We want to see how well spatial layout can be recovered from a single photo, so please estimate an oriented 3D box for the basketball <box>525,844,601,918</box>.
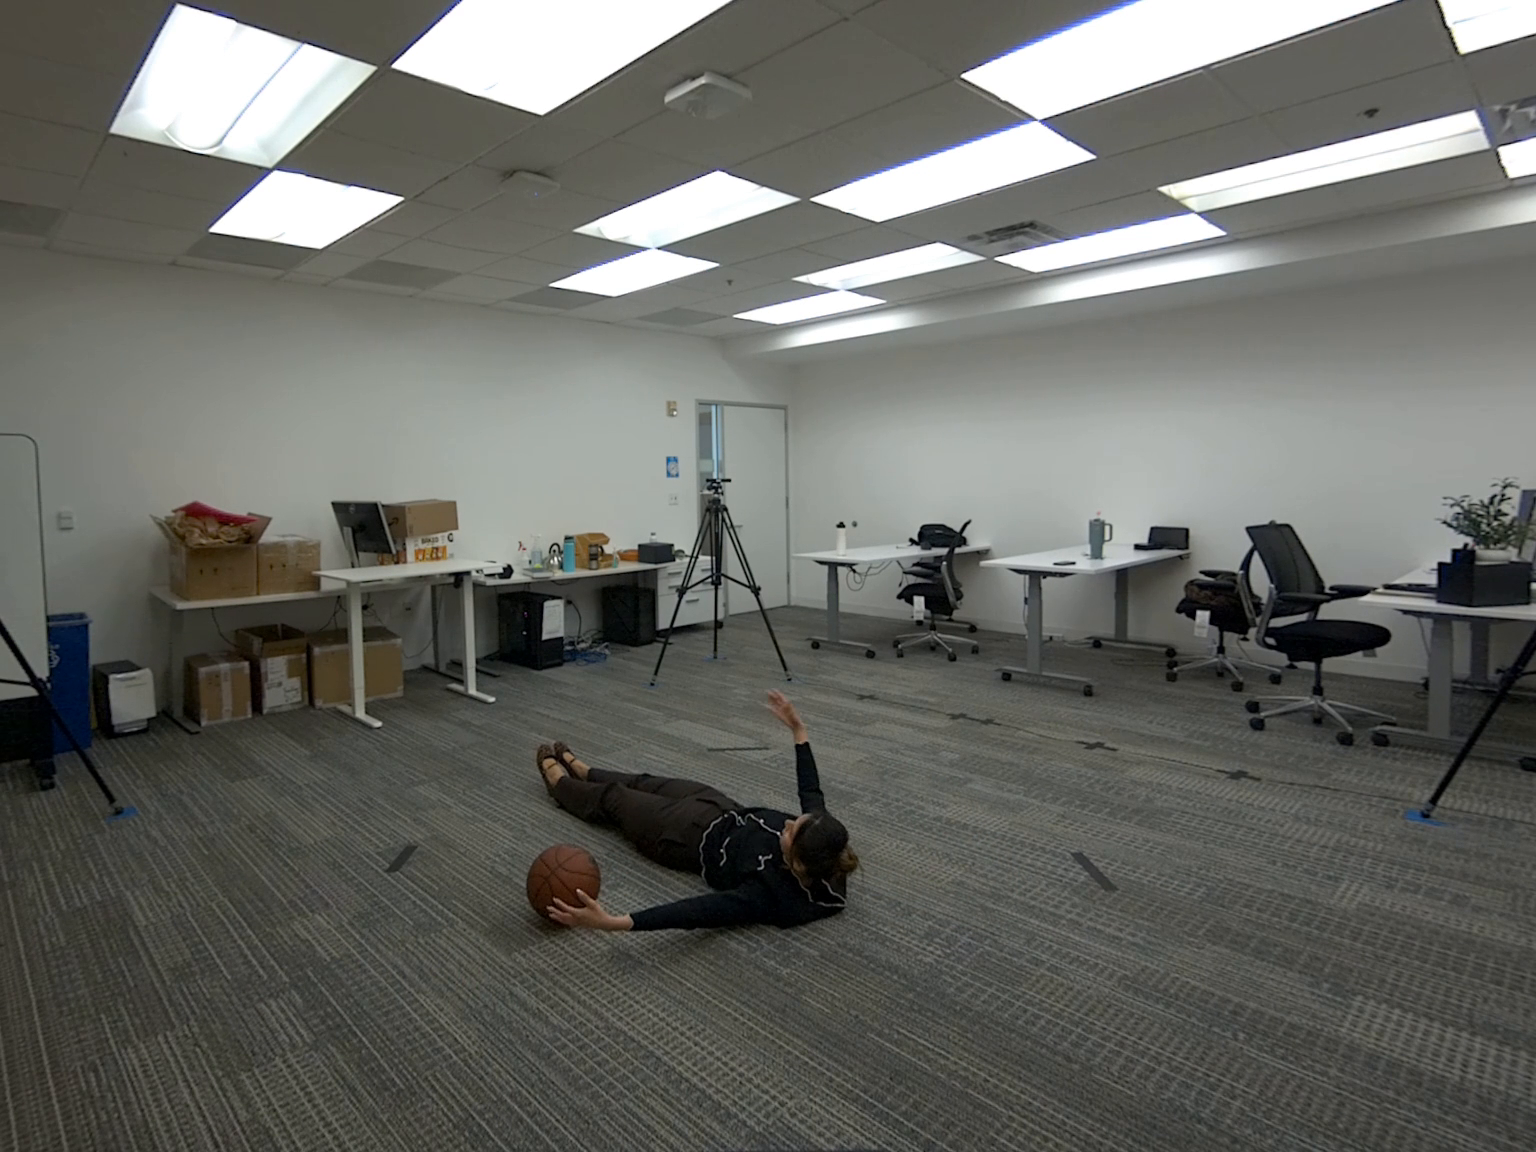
[{"bbox_3d":[-0.647,0.984,2.731,0.236,0.235,0.237,-1,5,-2],"label":"basketball"}]
